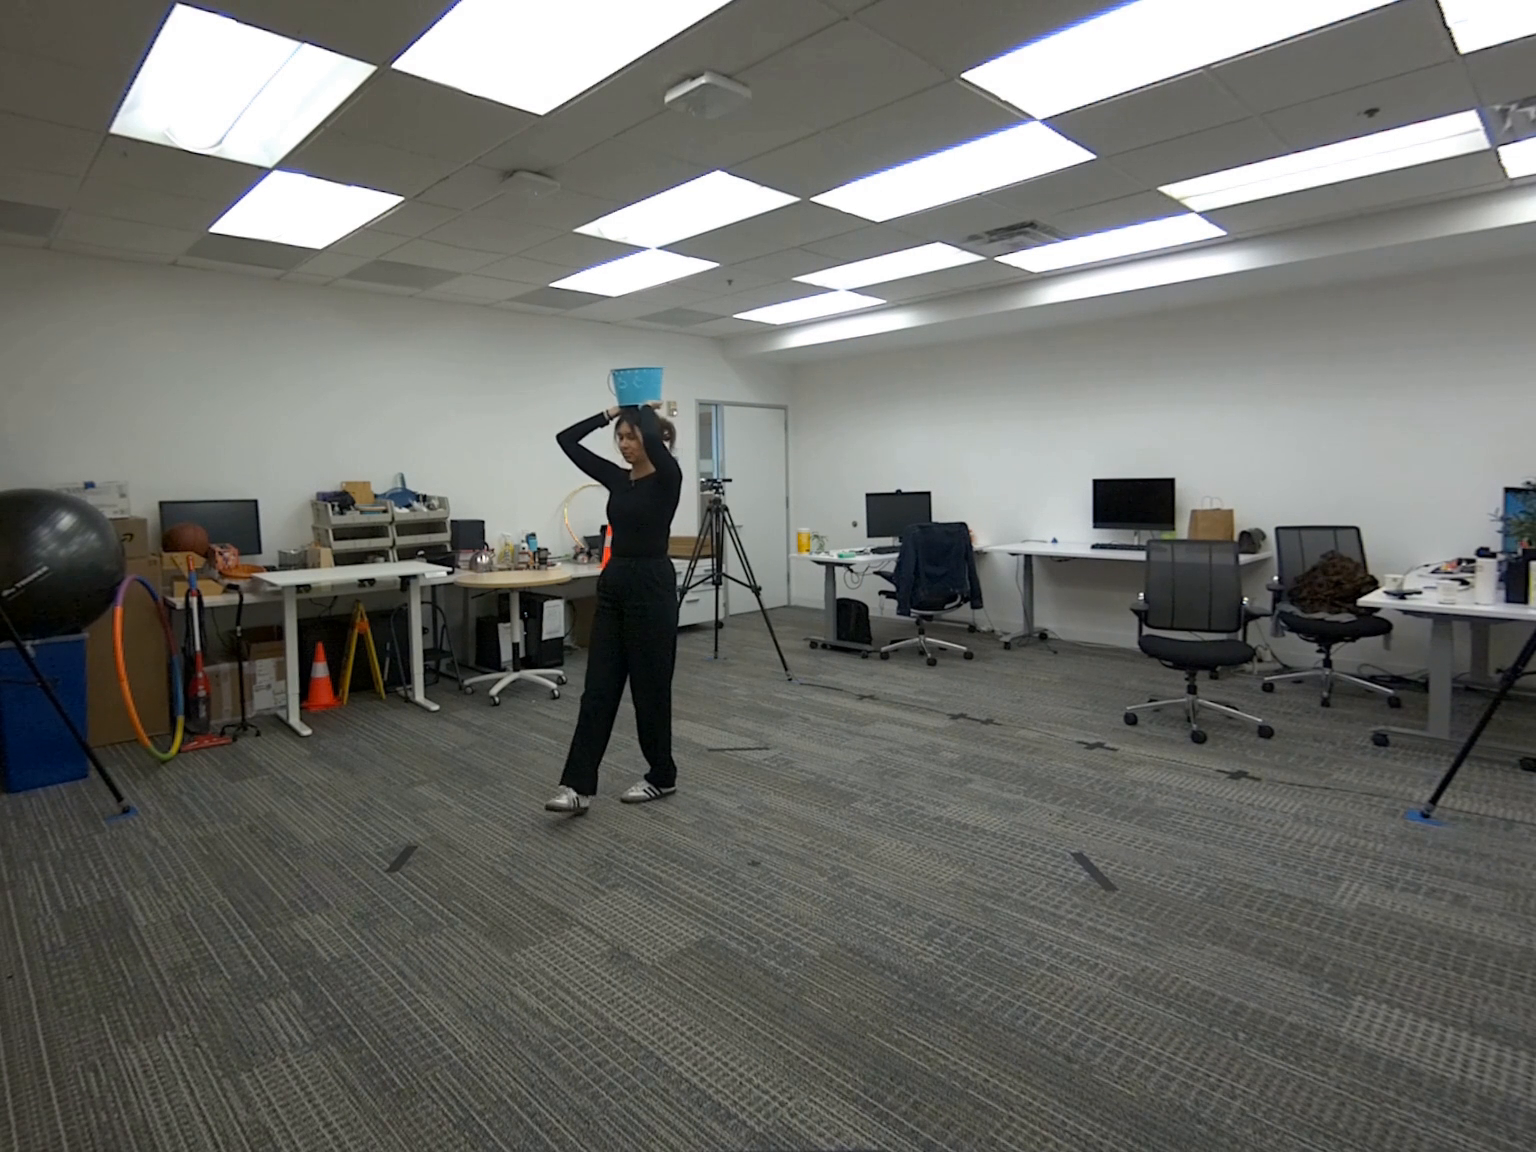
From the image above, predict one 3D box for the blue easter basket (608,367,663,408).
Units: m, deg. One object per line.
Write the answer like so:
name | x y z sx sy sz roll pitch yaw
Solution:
blue easter basket | -0.561 -0.811 3.661 0.243 0.155 0.245 -2 8 -1
